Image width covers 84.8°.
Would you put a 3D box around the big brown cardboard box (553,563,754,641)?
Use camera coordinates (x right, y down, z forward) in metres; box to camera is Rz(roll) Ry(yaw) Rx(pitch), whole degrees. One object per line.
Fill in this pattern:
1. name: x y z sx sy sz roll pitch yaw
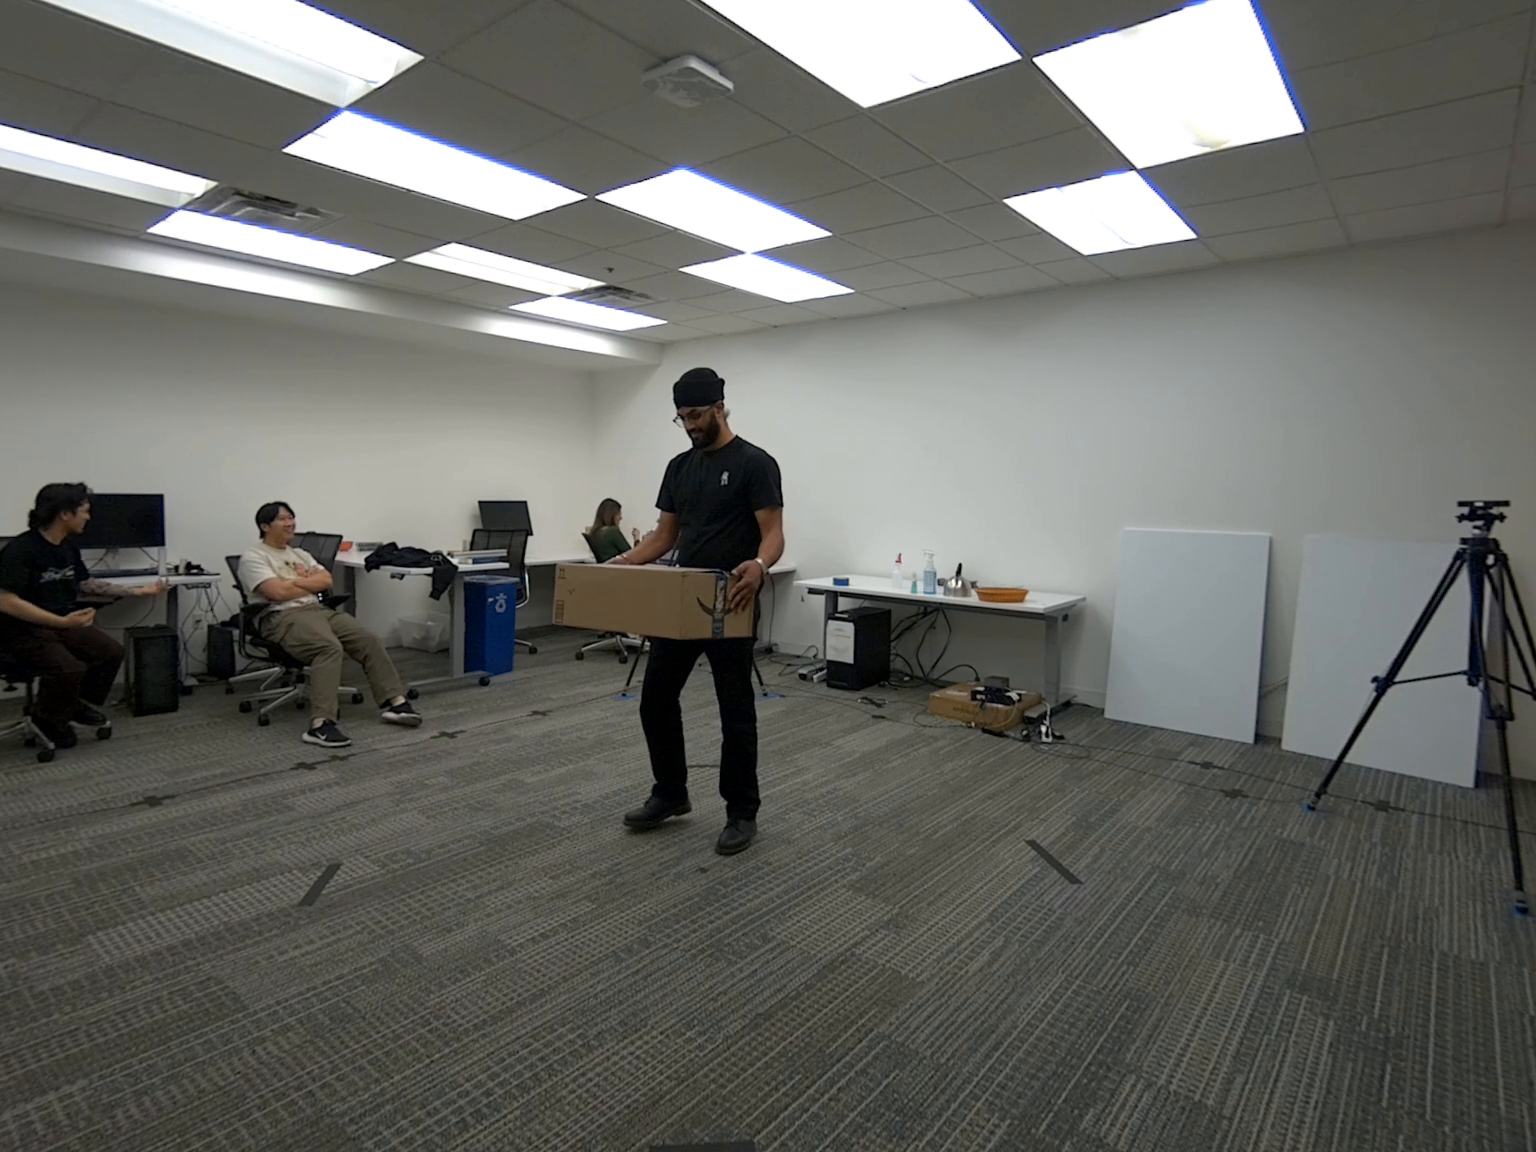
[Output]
1. big brown cardboard box: -0.407 0.075 2.982 0.607 0.233 0.404 3 -1 34
